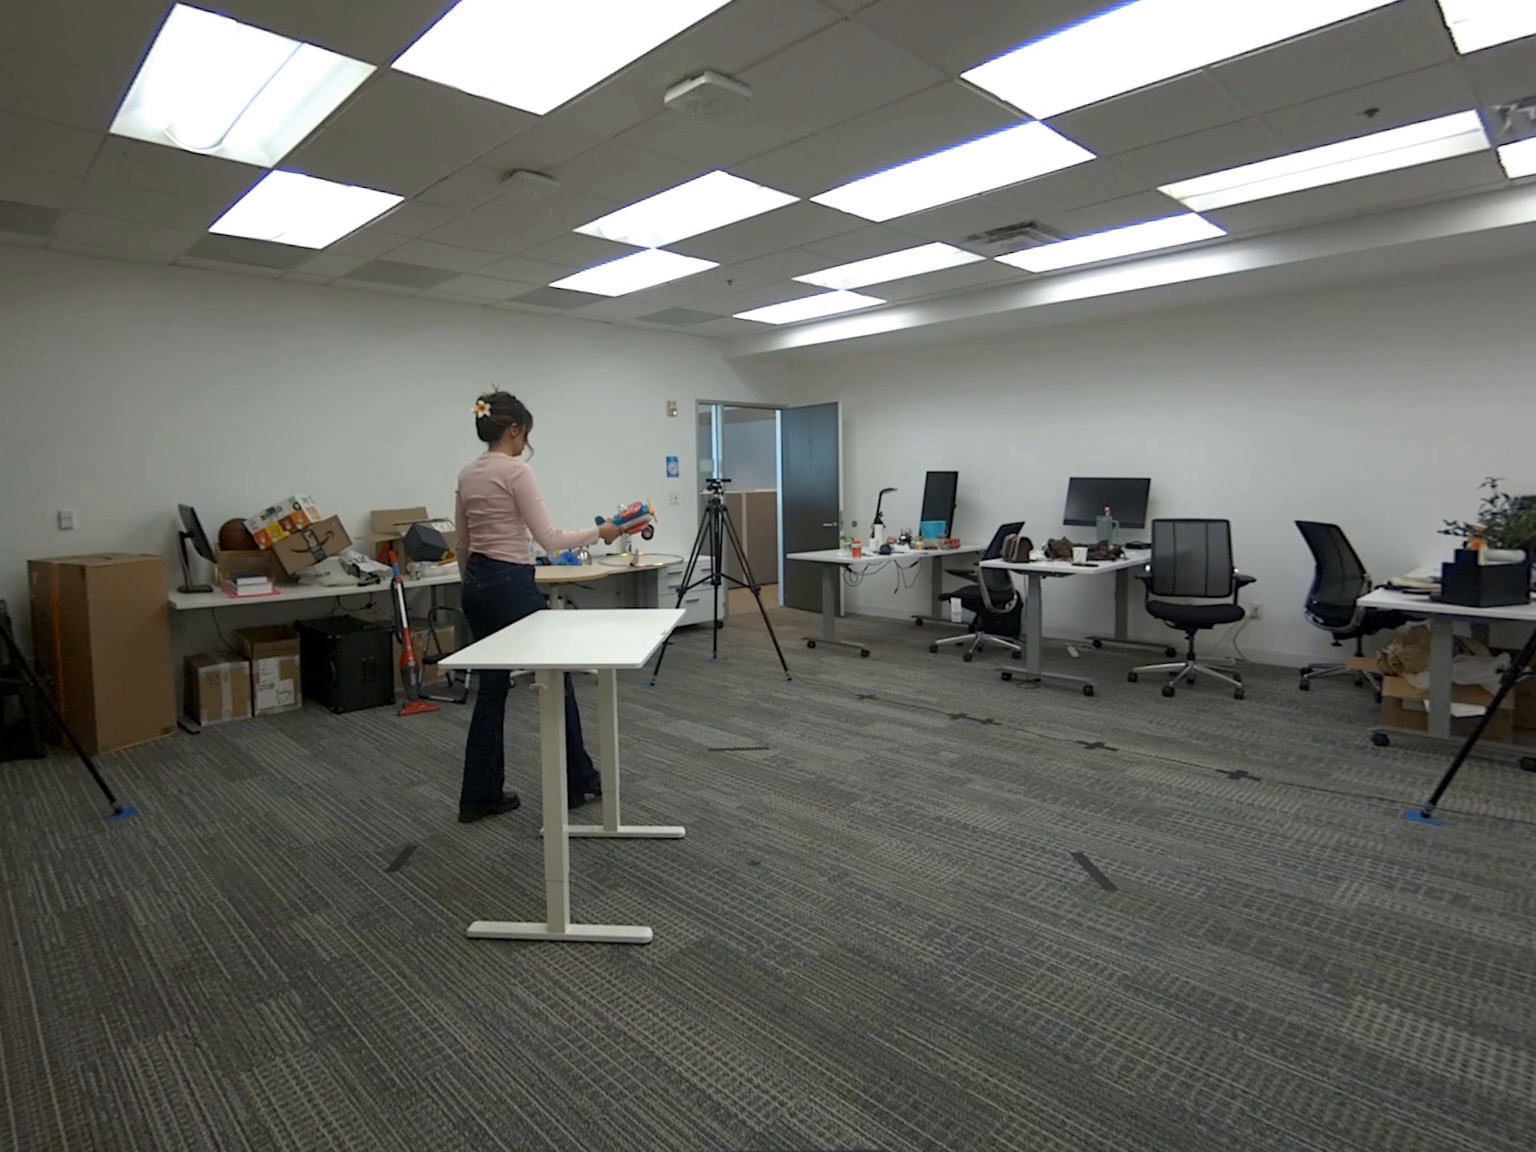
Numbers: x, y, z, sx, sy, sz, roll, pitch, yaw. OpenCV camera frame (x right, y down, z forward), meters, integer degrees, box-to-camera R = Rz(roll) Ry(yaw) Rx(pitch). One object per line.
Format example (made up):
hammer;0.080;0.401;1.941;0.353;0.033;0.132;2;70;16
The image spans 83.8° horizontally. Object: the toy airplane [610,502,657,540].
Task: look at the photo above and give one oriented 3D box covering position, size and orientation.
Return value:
toy airplane;-0.612;-0.225;3.718;0.255;0.154;0.259;-17;16;-29
